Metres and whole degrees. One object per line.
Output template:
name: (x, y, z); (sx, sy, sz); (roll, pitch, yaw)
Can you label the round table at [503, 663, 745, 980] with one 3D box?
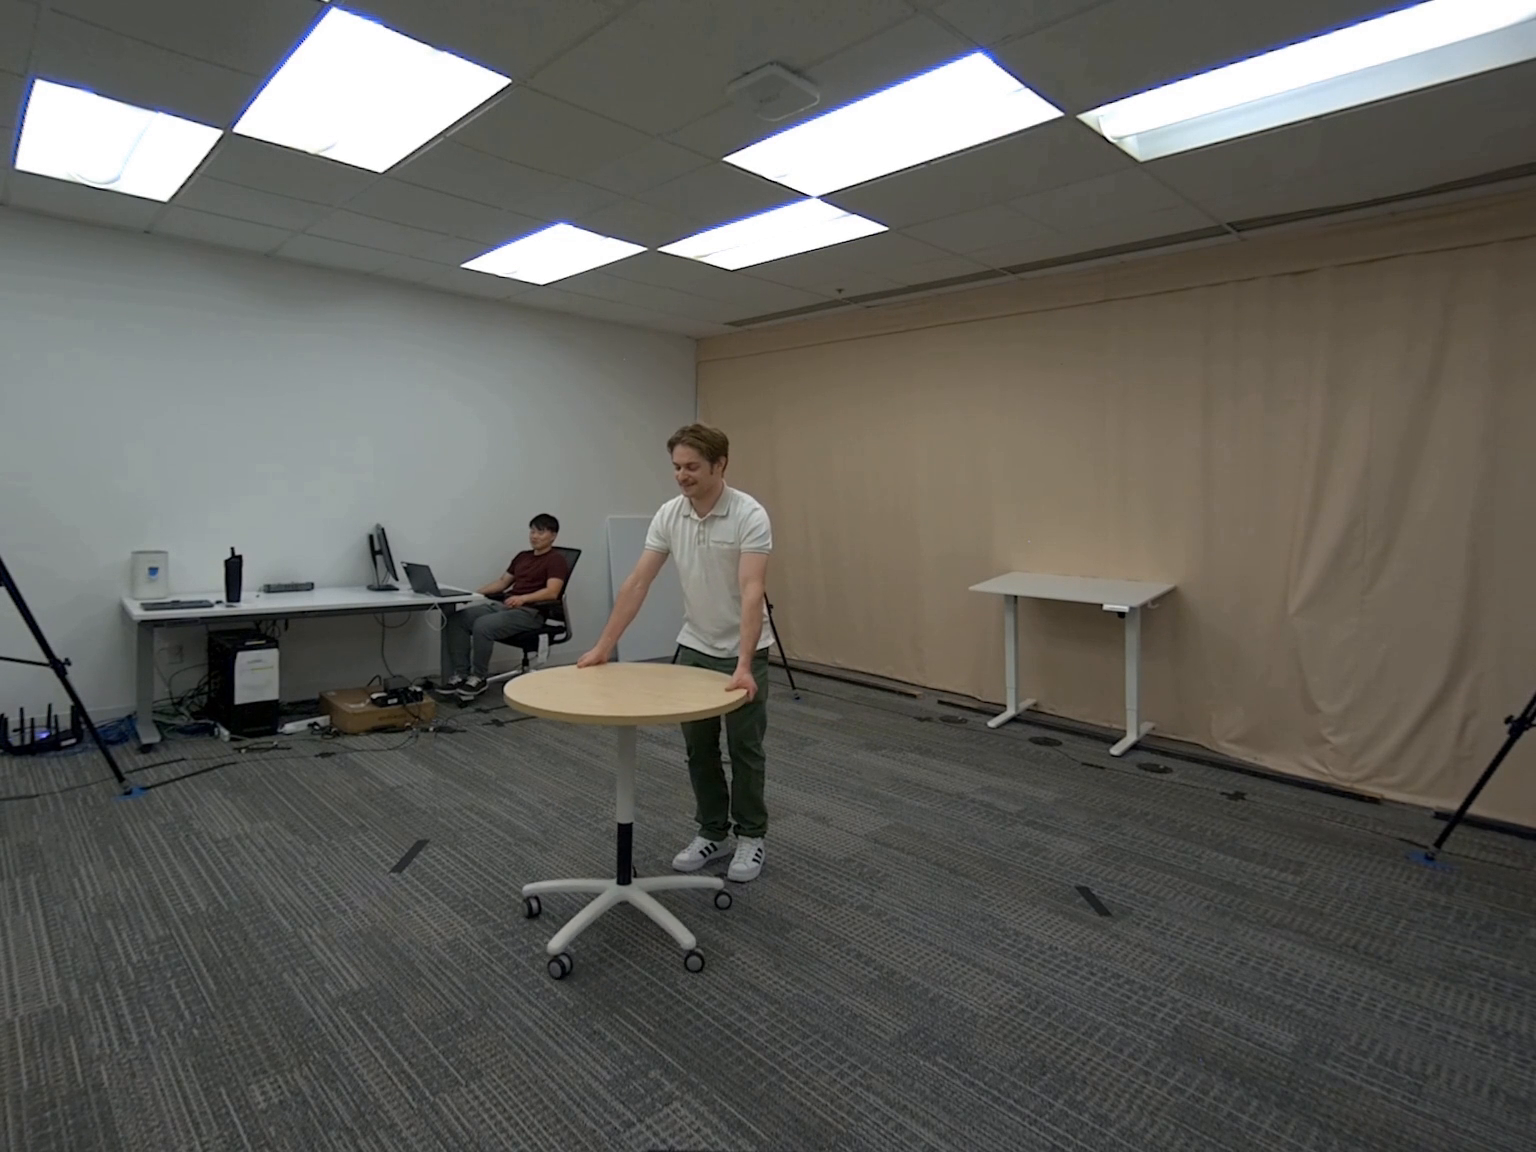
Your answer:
round table: (-0.464, 0.743, 2.706); (0.763, 0.792, 0.766); (1, 4, -1)
